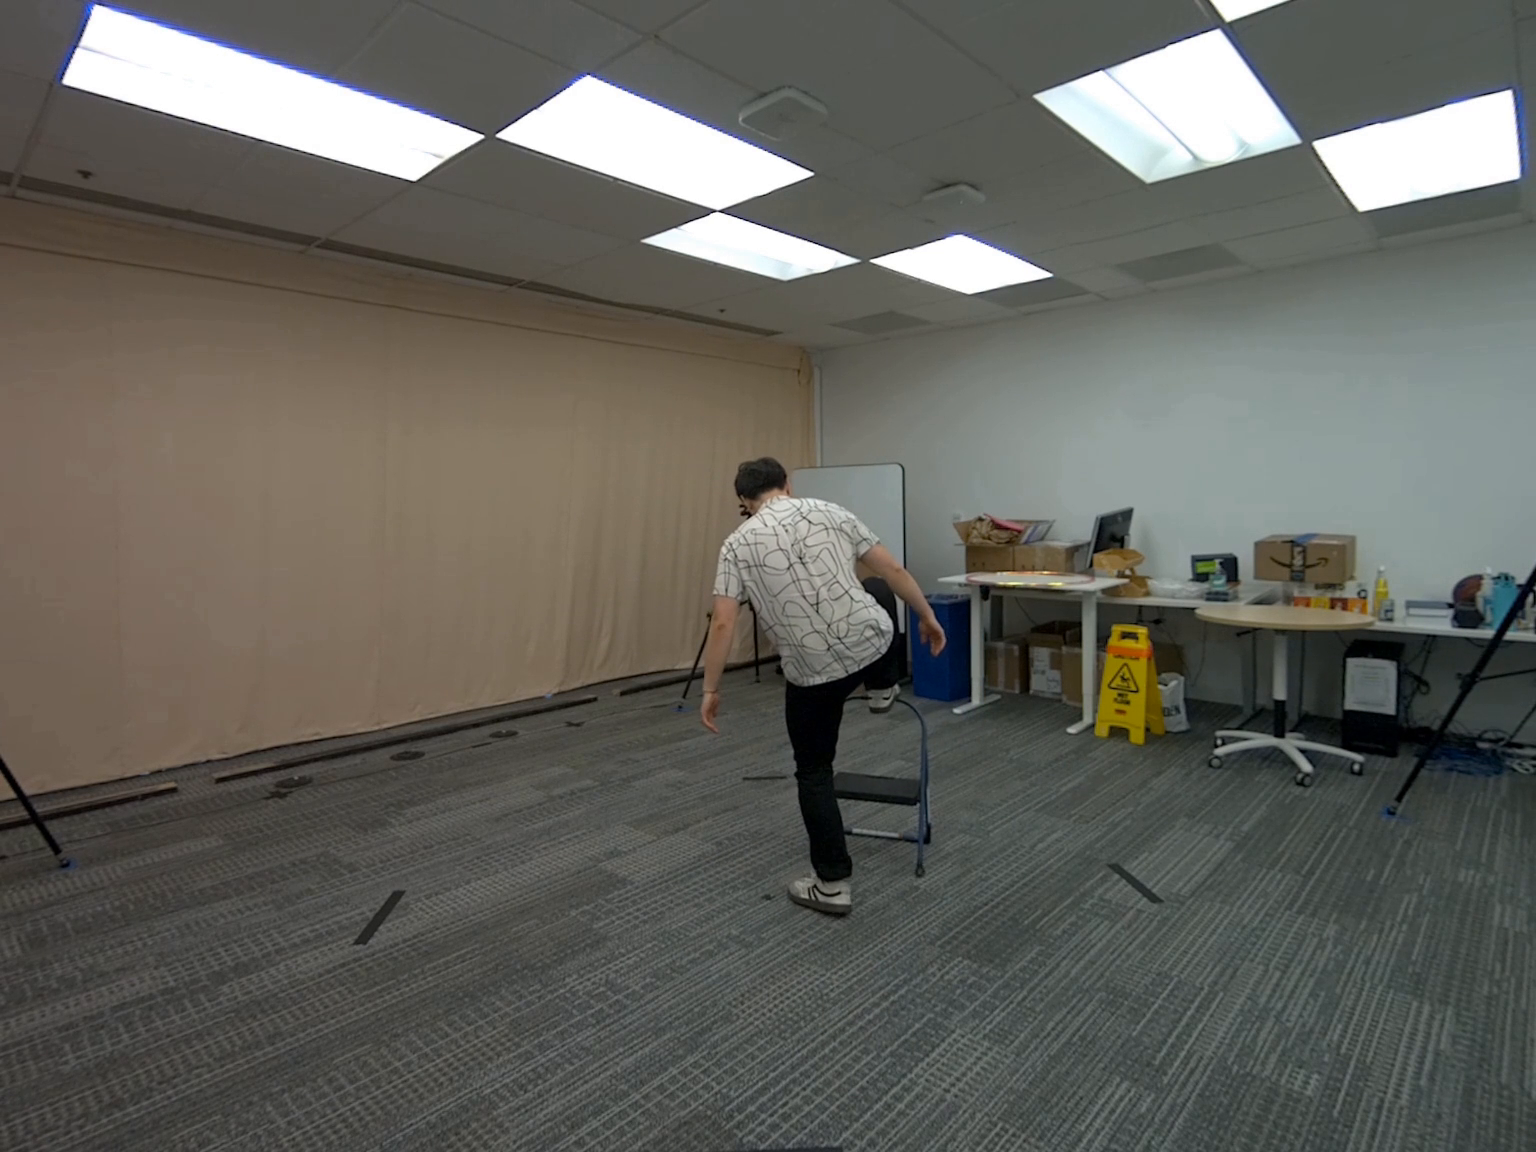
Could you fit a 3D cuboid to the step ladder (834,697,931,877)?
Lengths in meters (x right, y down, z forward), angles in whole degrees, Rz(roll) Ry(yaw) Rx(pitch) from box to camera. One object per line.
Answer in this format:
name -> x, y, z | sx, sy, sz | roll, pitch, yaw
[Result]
step ladder -> 0.429, 0.789, 3.357 | 0.439, 0.606, 0.343 | 0, 0, 18
